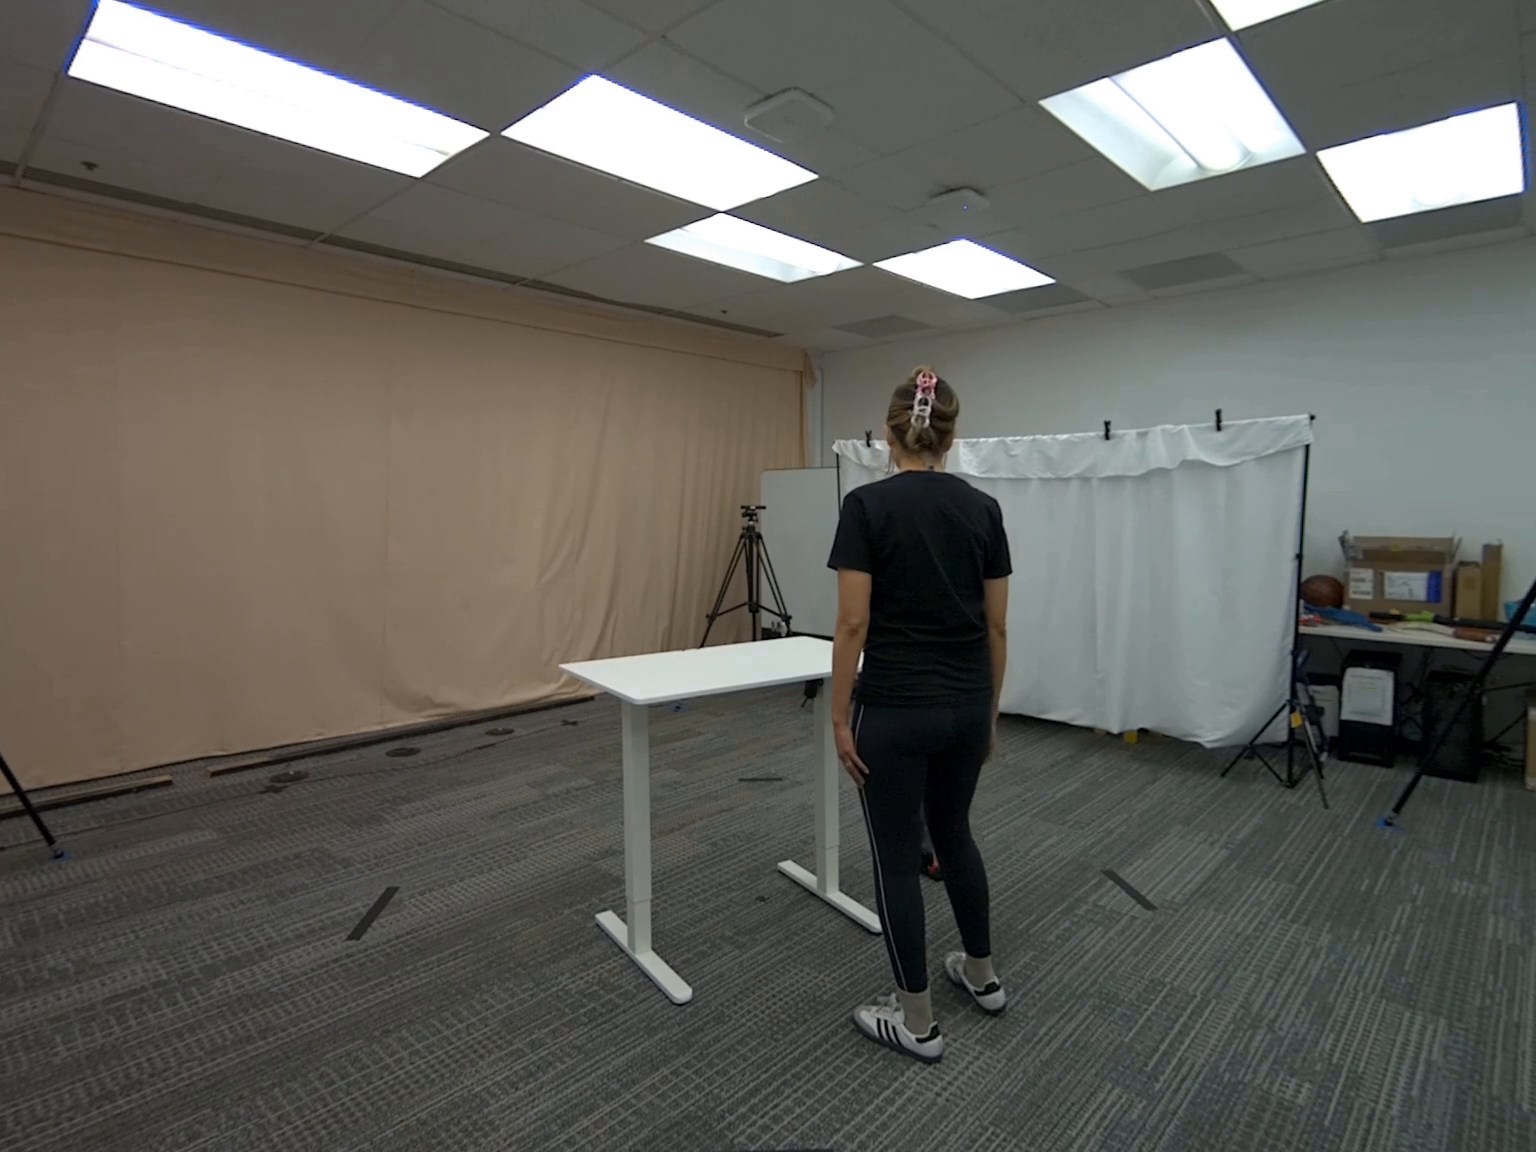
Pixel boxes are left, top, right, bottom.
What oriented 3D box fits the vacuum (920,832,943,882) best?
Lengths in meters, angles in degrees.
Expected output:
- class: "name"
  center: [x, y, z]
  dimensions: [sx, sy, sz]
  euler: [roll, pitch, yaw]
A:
- class: "vacuum"
  center: [0.474, 0.654, 3.072]
  dimensions: [0.260, 1.034, 0.141]
  euler: [-4, 22, 47]
